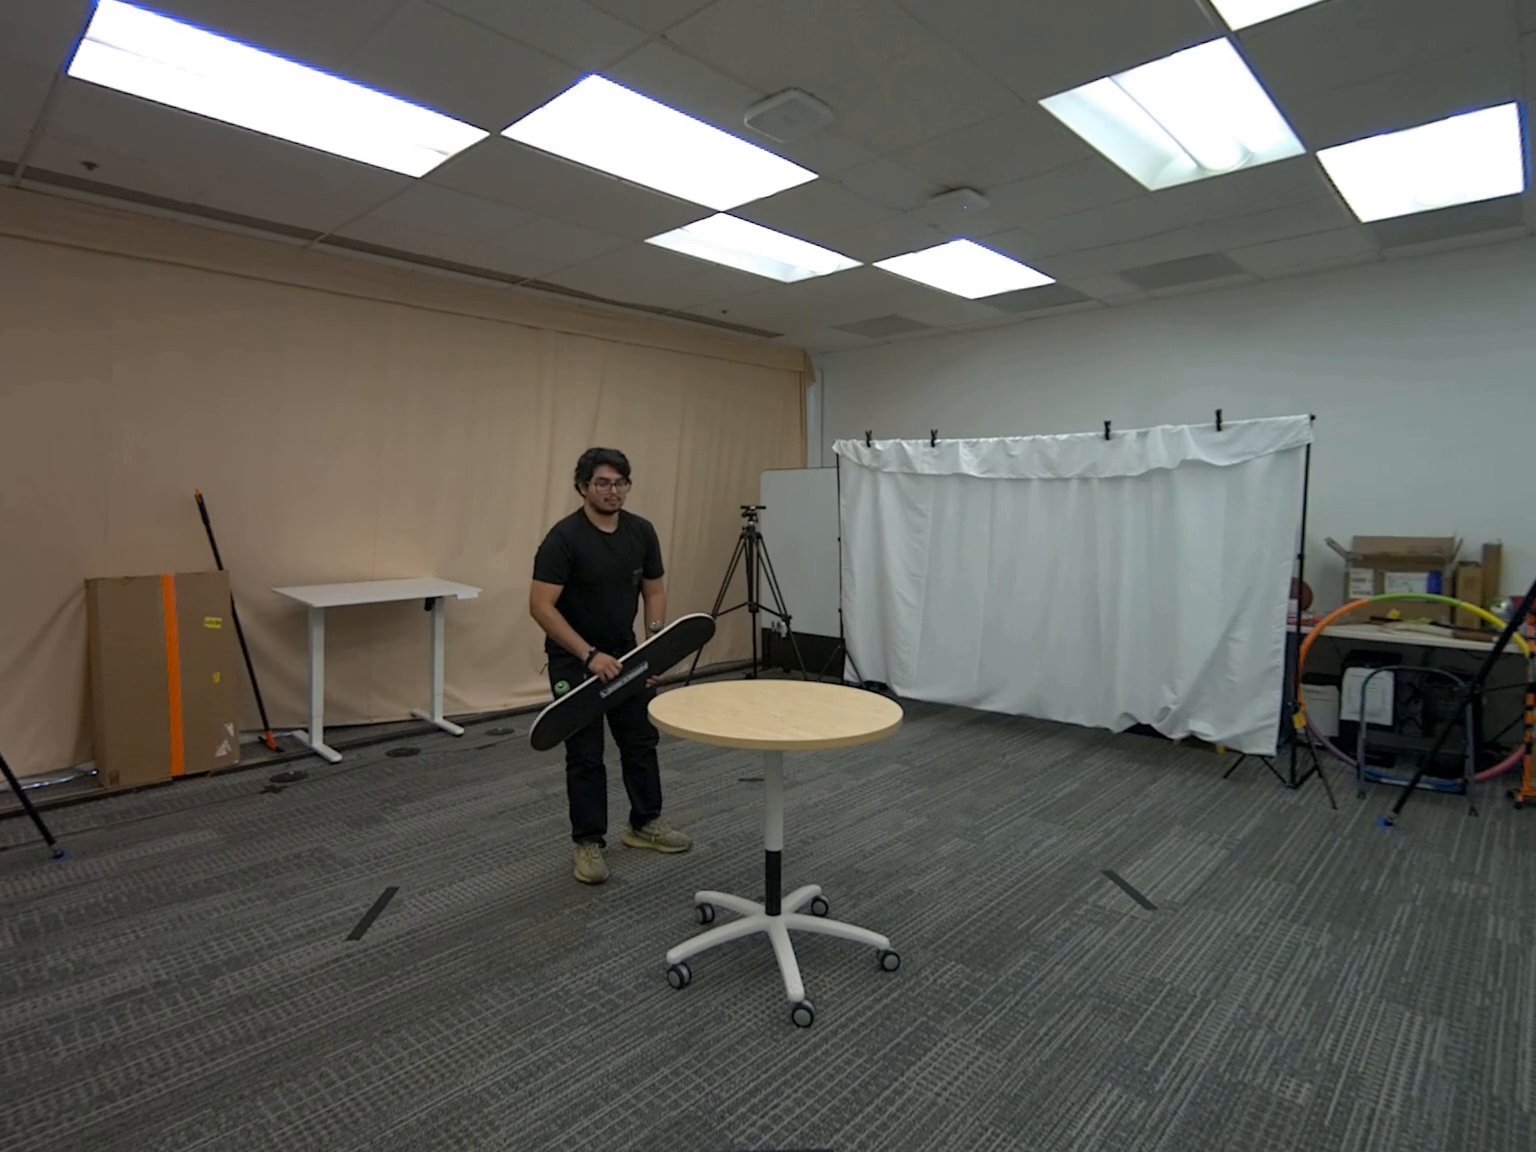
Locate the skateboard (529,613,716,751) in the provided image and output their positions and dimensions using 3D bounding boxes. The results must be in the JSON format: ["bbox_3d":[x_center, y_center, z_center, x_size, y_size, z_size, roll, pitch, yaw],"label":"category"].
[{"bbox_3d":[-0.536,0.364,3.068,0.779,0.188,0.114,-33,47,-14],"label":"skateboard"}]
